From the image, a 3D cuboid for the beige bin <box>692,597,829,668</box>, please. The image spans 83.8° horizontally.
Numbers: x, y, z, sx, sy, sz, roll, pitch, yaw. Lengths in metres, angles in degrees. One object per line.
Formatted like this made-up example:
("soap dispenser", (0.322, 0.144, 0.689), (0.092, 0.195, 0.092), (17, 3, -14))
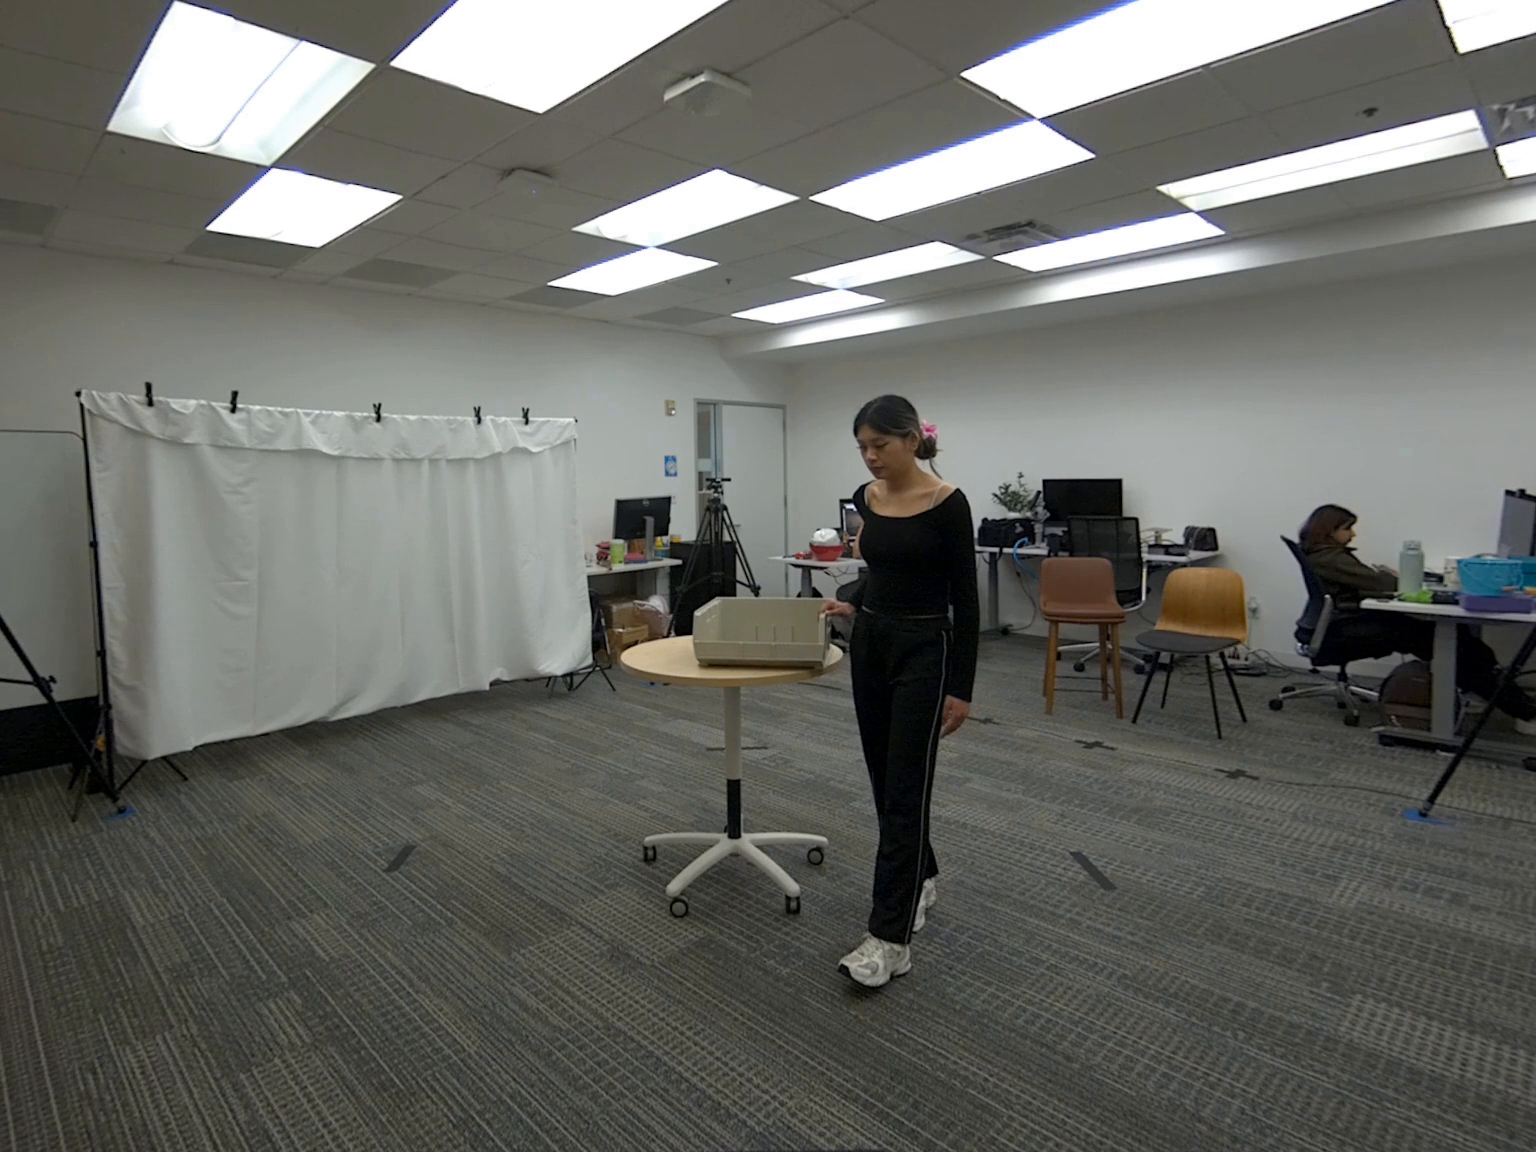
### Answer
("beige bin", (0.003, 0.183, 2.841), (0.426, 0.188, 0.374), (-1, 3, 9))
